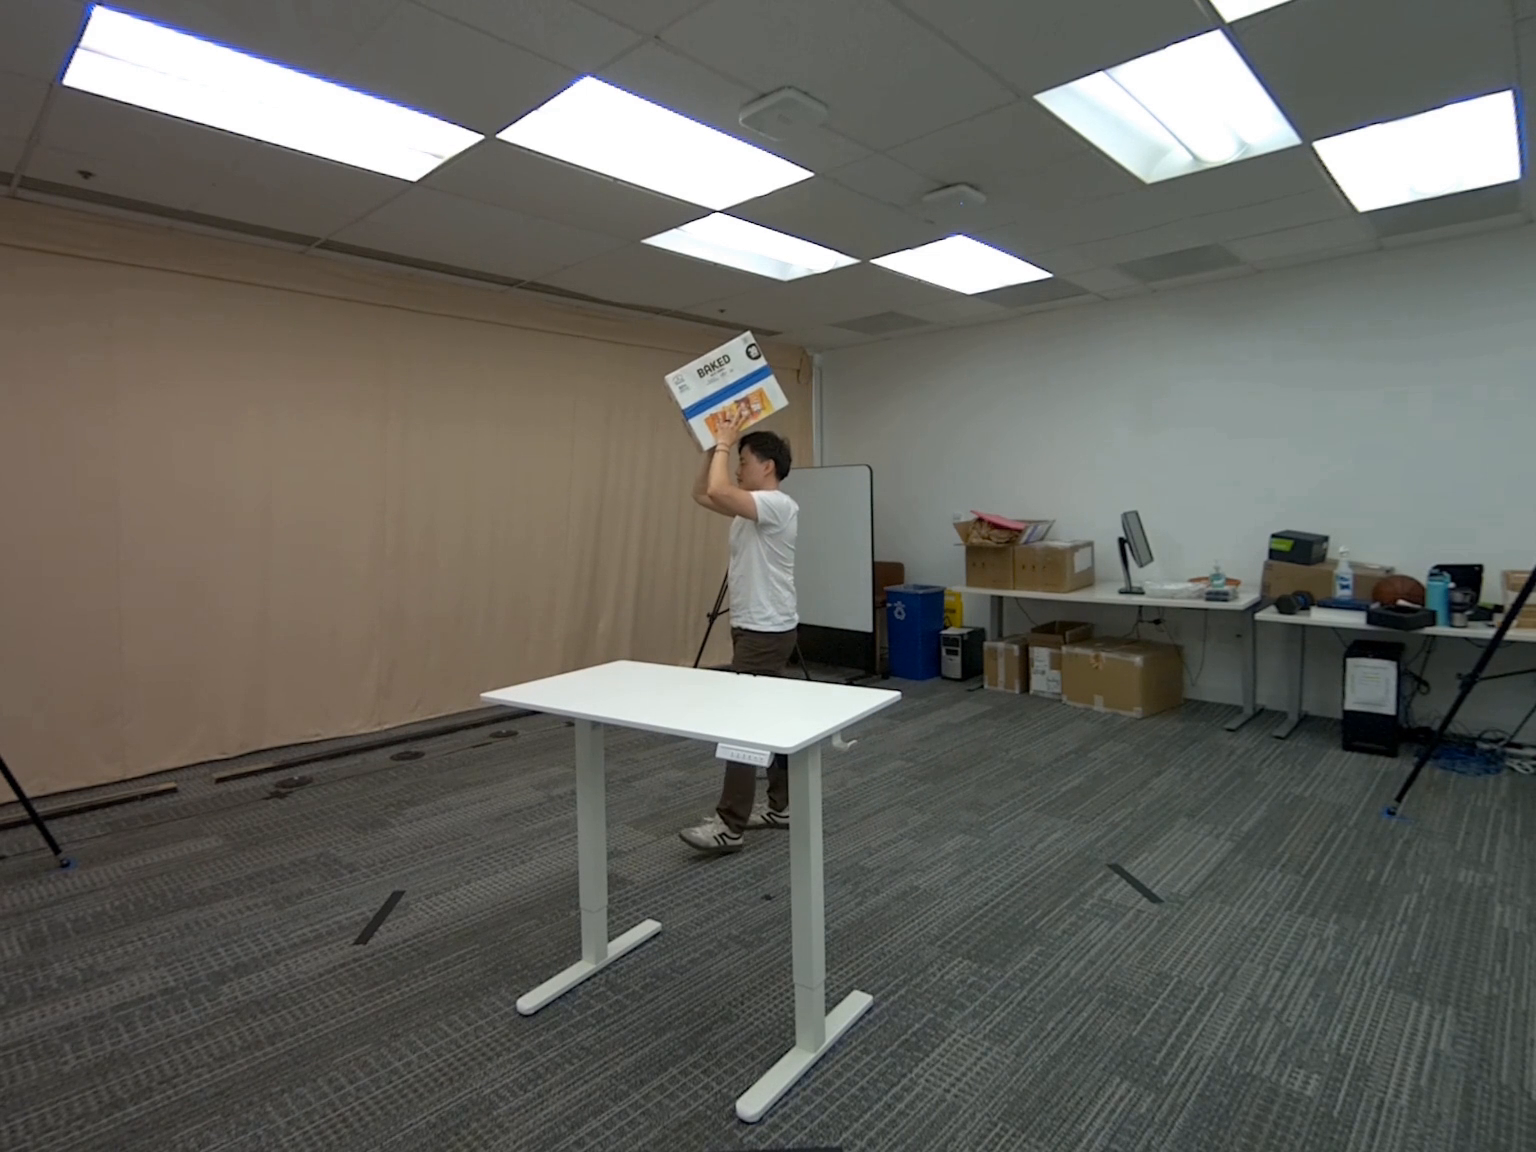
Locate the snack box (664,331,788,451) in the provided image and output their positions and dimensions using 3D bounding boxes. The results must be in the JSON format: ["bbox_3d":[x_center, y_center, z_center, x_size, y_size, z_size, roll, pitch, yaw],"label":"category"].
[{"bbox_3d":[-0.179,-0.759,3.528,0.404,0.339,0.207,-29,5,-5],"label":"snack box"}]
